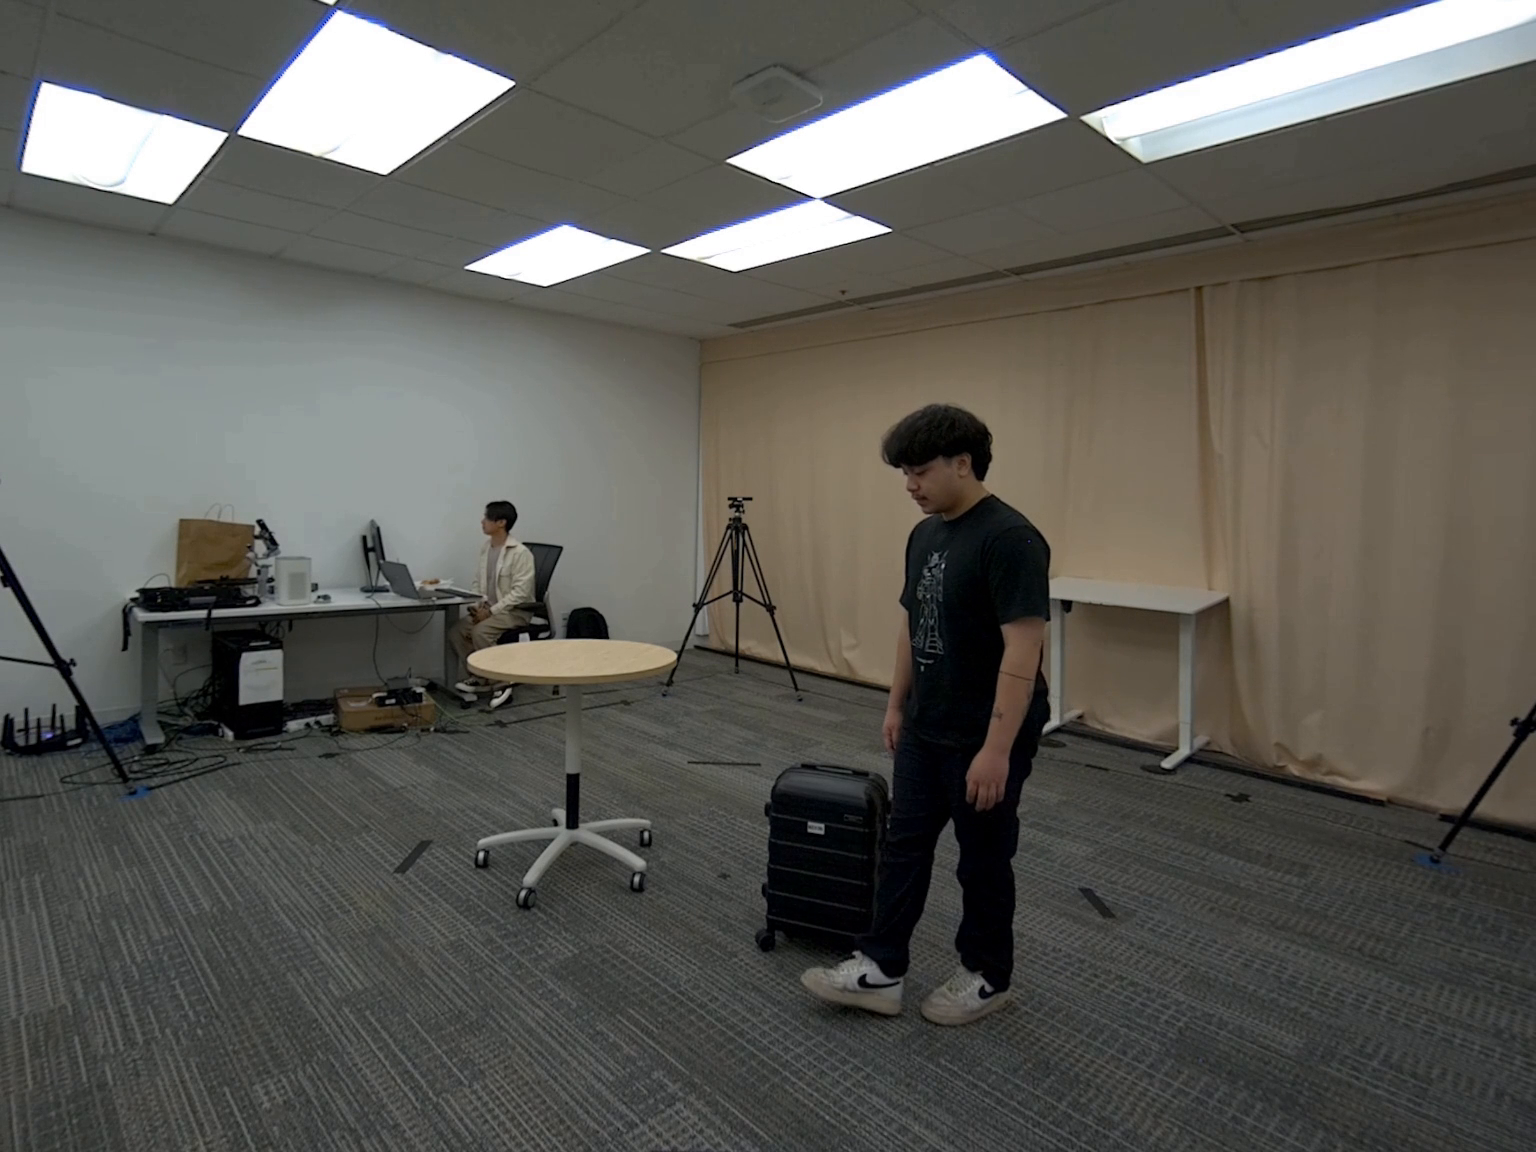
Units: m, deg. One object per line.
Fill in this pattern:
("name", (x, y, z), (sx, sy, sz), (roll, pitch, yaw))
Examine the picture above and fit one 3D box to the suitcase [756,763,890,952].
("suitcase", (0.184, 0.891, 2.638), (0.381, 0.548, 0.245), (4, 5, 19))
